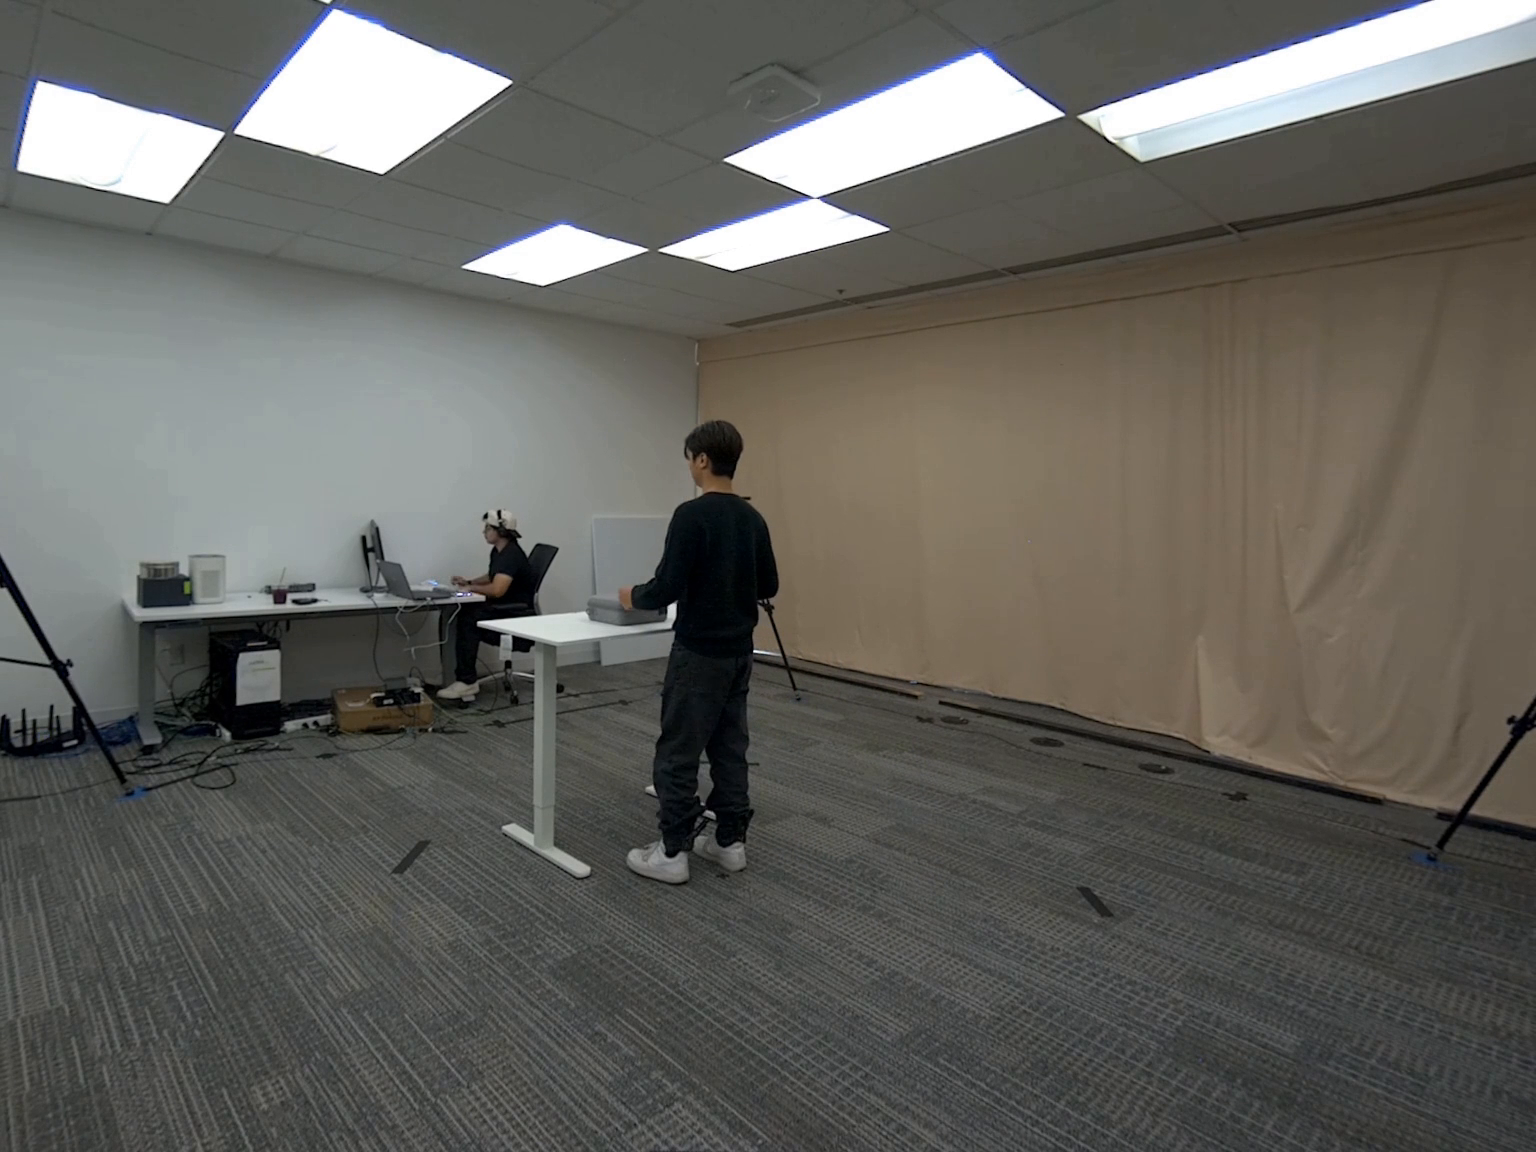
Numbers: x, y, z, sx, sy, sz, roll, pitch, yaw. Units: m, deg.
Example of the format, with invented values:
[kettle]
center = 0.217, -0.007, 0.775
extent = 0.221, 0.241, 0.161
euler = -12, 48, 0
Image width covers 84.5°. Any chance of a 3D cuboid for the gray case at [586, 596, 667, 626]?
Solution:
[gray case]
center = -0.589, 0.131, 3.457
extent = 0.267, 0.104, 0.251
euler = 5, 8, 45
